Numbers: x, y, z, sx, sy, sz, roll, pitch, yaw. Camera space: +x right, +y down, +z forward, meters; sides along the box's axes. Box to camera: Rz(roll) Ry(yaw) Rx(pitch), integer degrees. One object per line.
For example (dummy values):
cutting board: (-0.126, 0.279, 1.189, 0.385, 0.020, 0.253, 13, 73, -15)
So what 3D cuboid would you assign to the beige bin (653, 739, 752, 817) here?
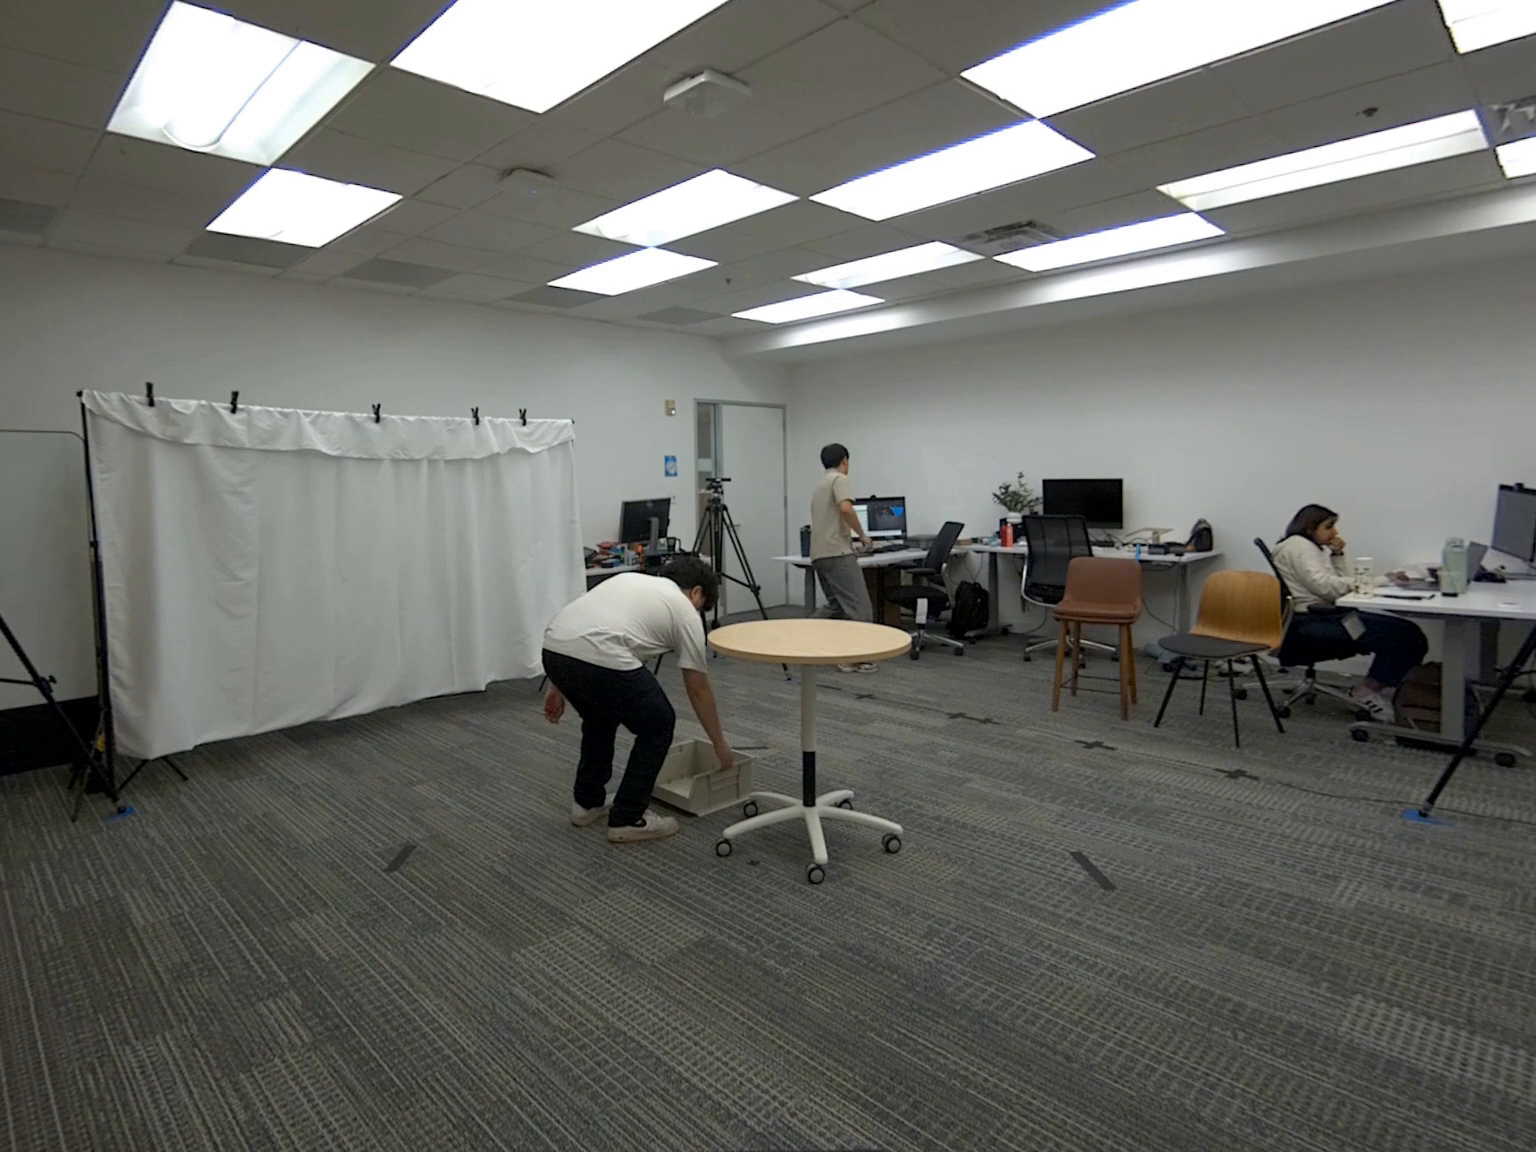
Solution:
beige bin: (-0.330, 0.882, 3.776, 0.367, 0.188, 0.435, -5, 7, -43)
